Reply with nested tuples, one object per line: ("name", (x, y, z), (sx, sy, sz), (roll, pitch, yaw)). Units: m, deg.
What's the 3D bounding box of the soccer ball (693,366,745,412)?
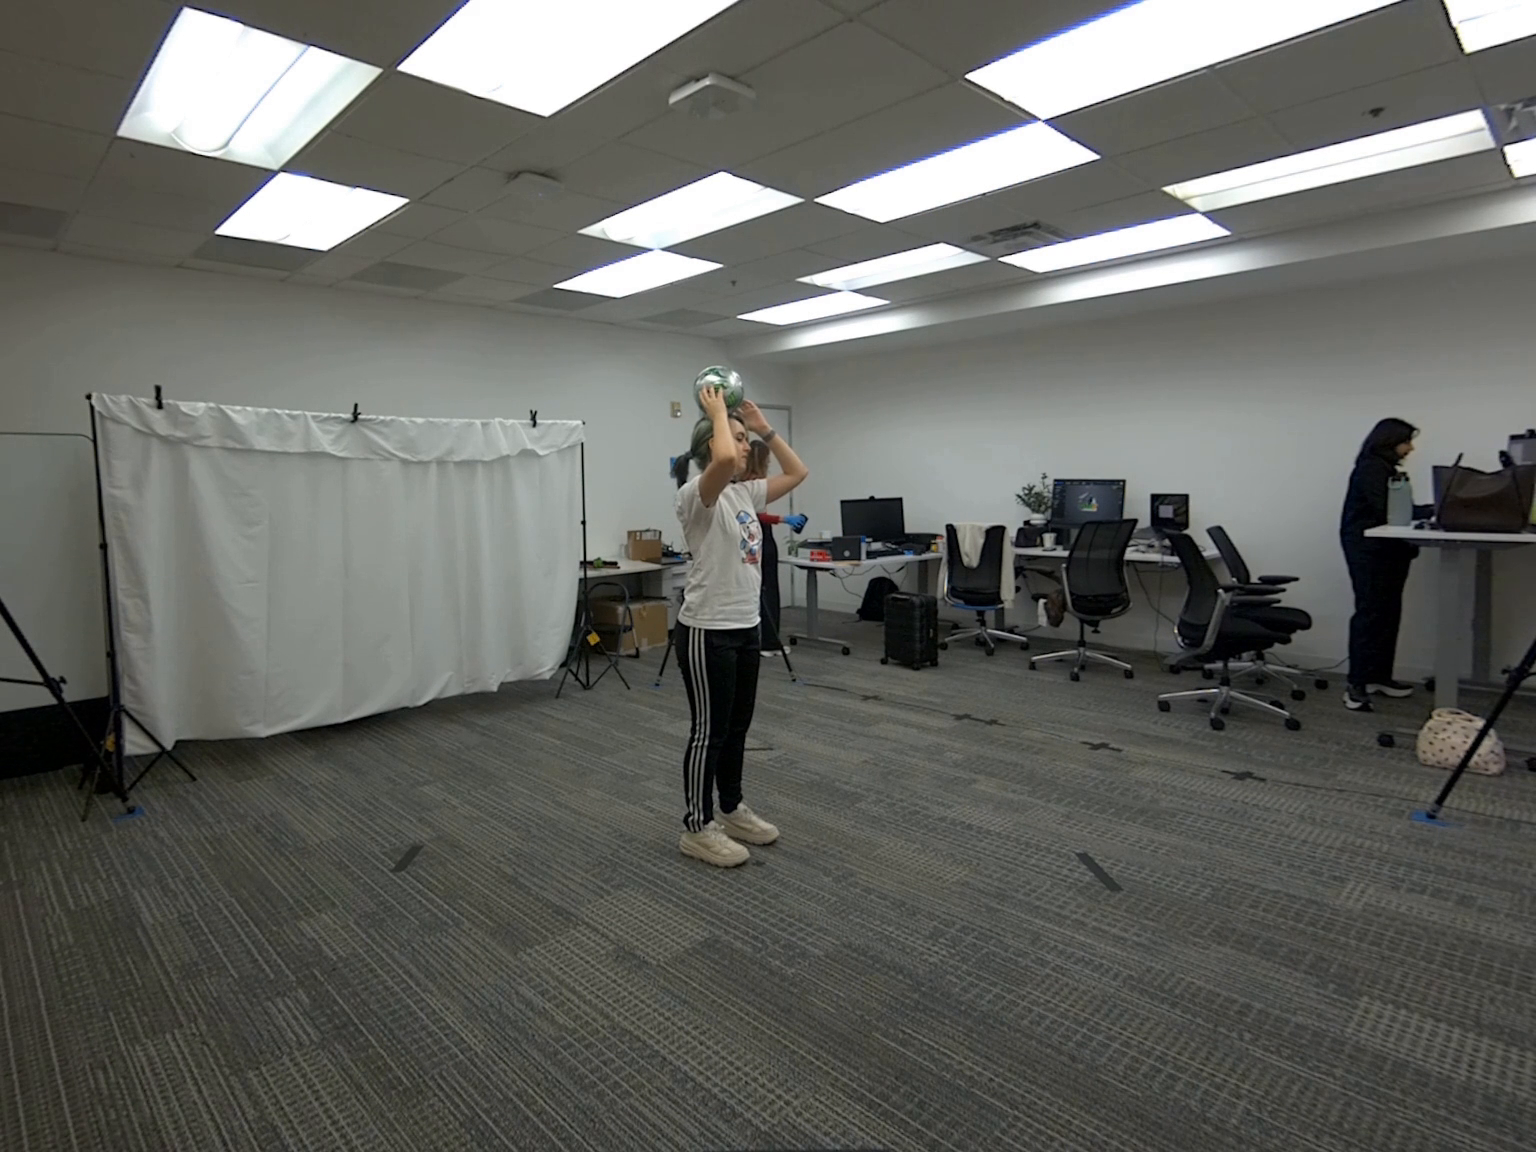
("soccer ball", (-0.184, -0.675, 3.148), (0.187, 0.187, 0.188), (-1, 5, -2))
